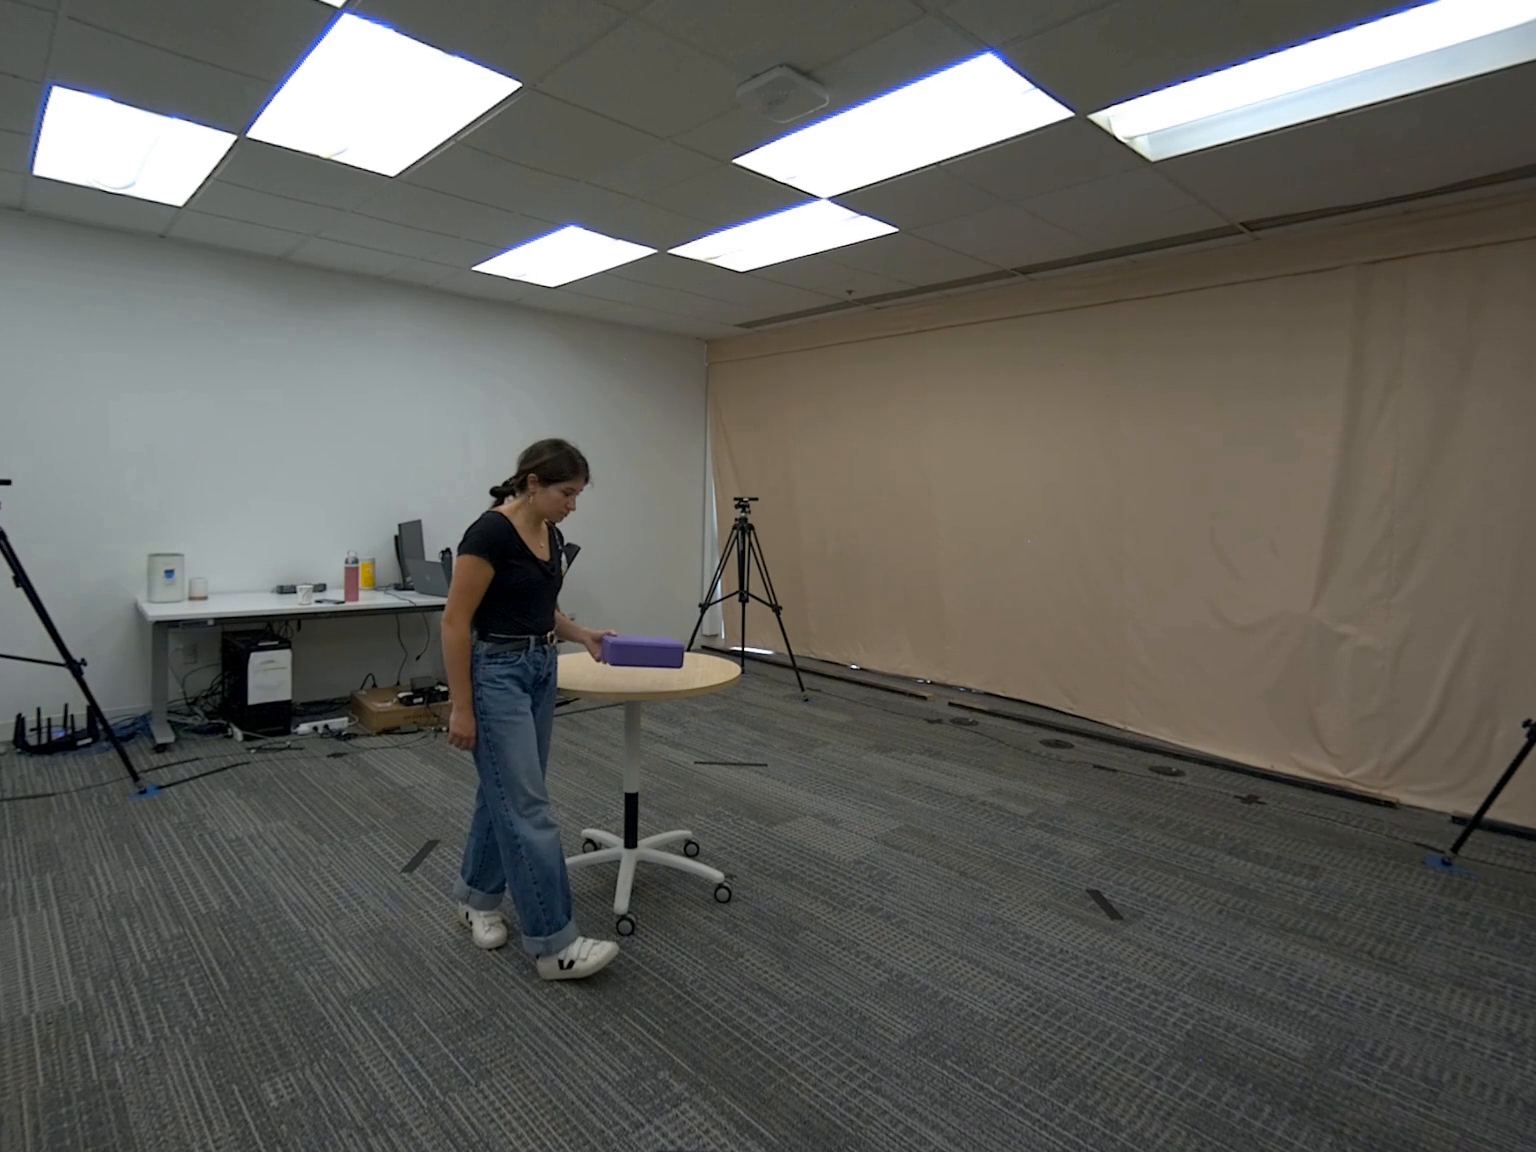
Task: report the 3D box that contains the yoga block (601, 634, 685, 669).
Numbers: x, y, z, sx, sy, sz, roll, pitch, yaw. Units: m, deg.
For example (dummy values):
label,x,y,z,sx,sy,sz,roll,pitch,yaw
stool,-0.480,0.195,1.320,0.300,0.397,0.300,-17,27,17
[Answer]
label,x,y,z,sx,sy,sz,roll,pitch,yaw
yoga block,-0.394,0.246,2.547,0.227,0.076,0.151,5,3,-13
